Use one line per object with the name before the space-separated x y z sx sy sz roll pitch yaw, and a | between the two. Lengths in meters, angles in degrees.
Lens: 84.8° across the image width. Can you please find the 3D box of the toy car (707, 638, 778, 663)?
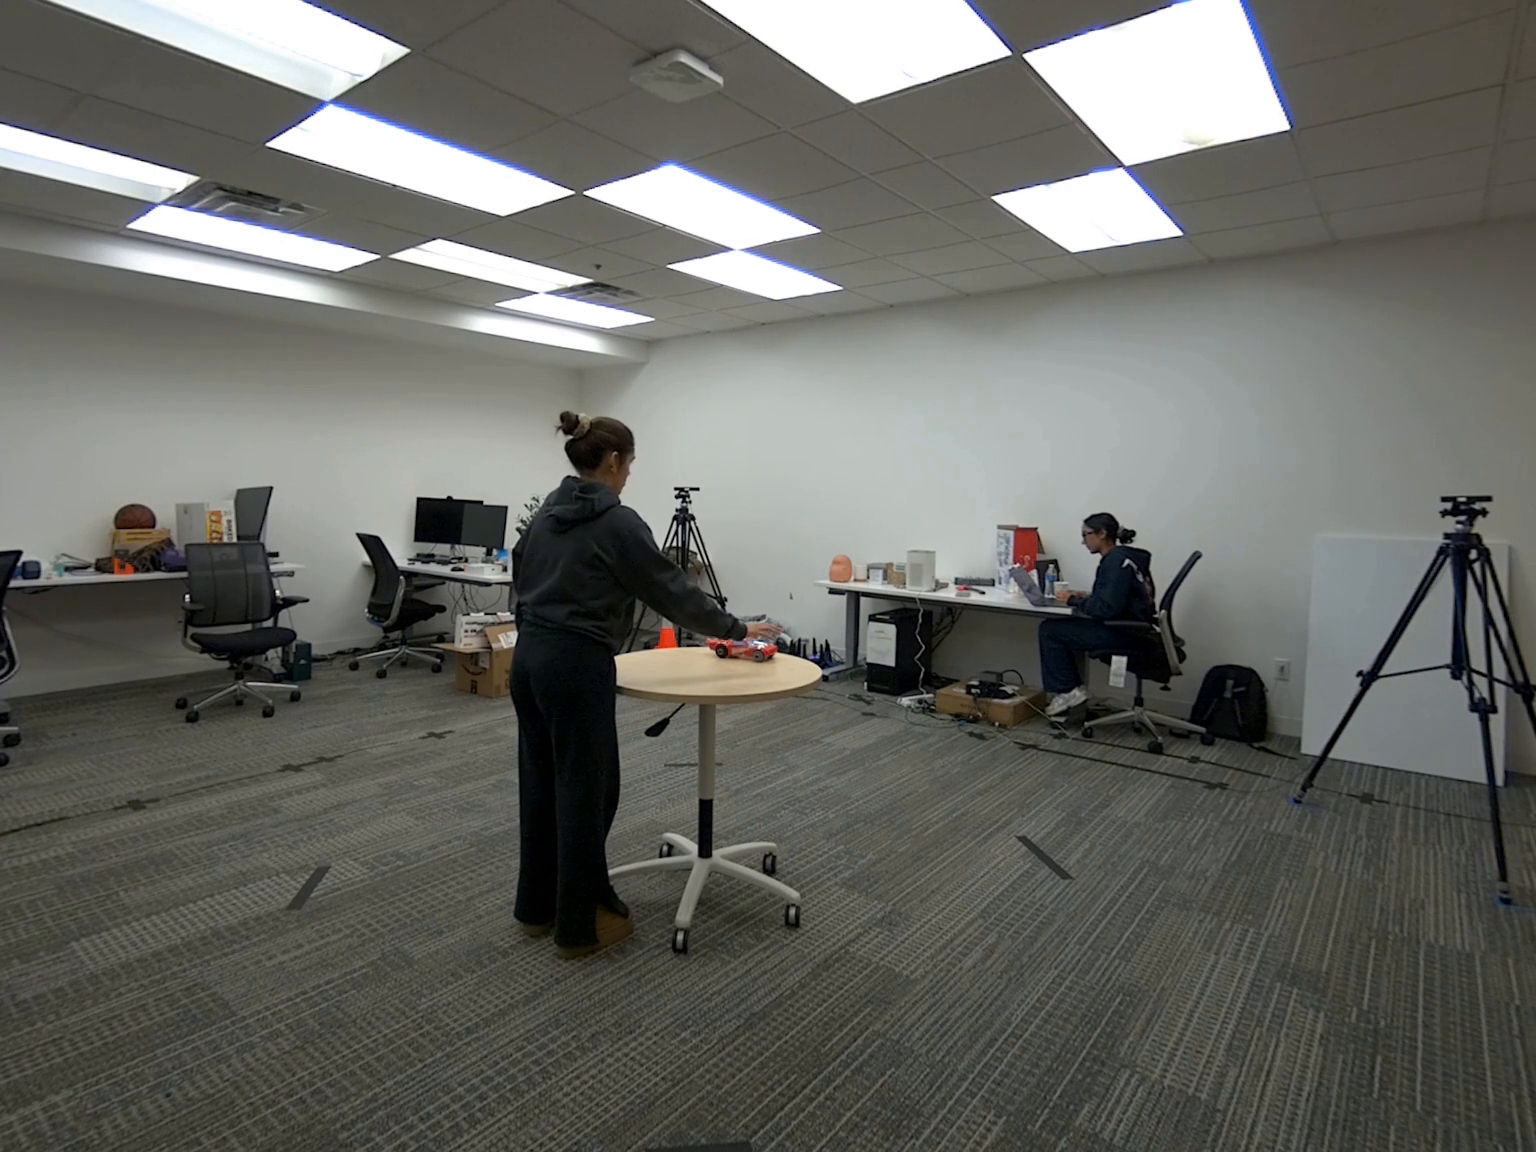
toy car | -0.109 0.260 3.059 0.262 0.083 0.127 15 10 25
